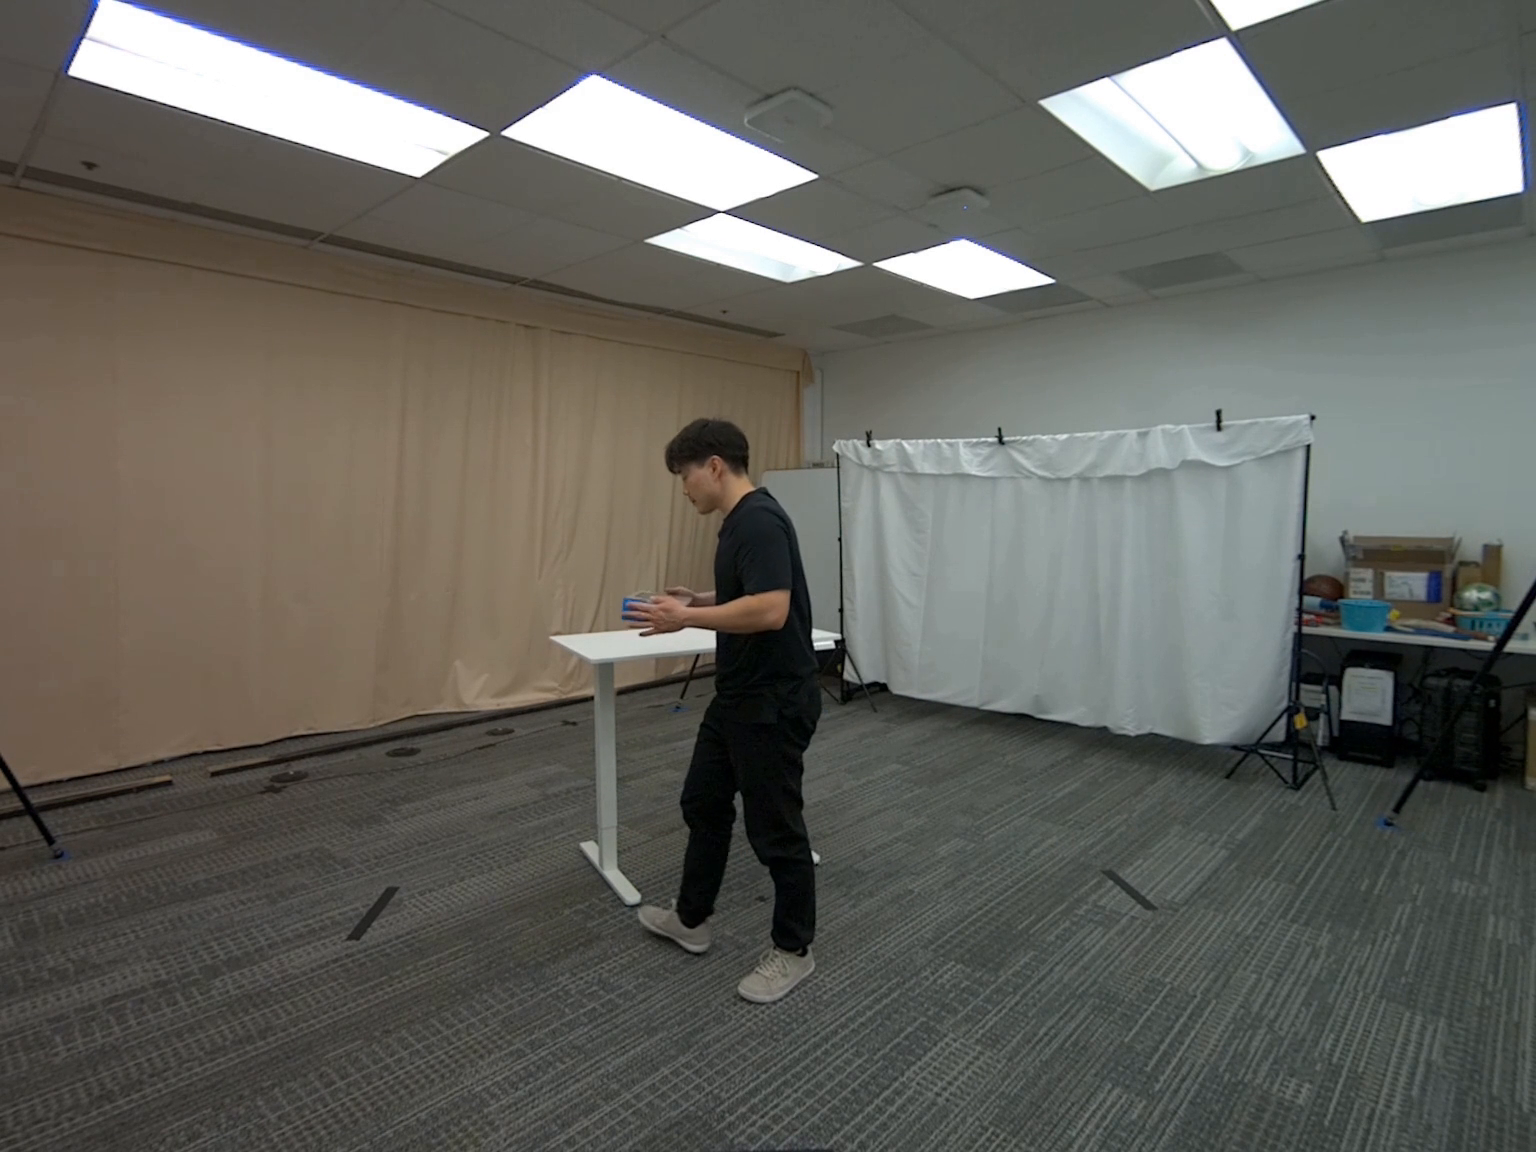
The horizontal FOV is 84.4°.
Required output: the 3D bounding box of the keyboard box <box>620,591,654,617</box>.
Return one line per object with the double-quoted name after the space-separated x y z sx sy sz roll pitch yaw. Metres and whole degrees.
-0.321 0.089 2.490 0.176 0.059 0.438 7 2 -3 "keyboard box"
